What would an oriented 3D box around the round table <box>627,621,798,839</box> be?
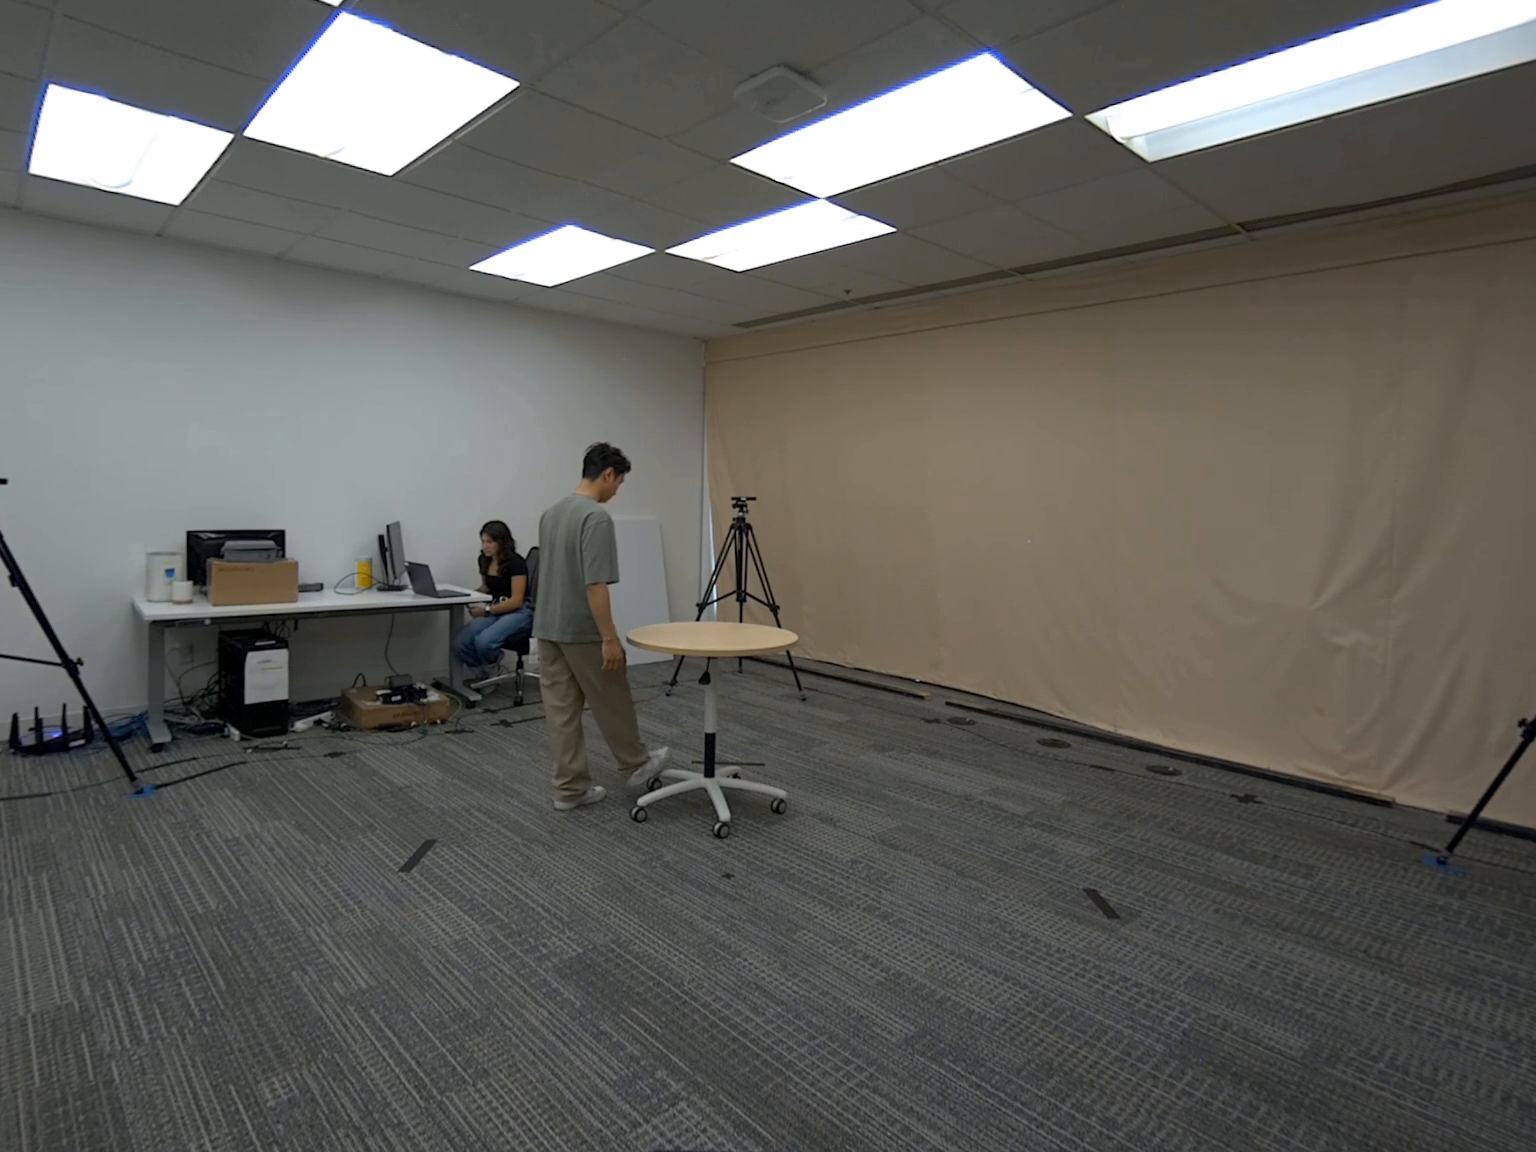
[{"bbox_3d":[-0.265,0.653,3.757,0.784,0.785,0.787,1,3,-1],"label":"round table"}]
